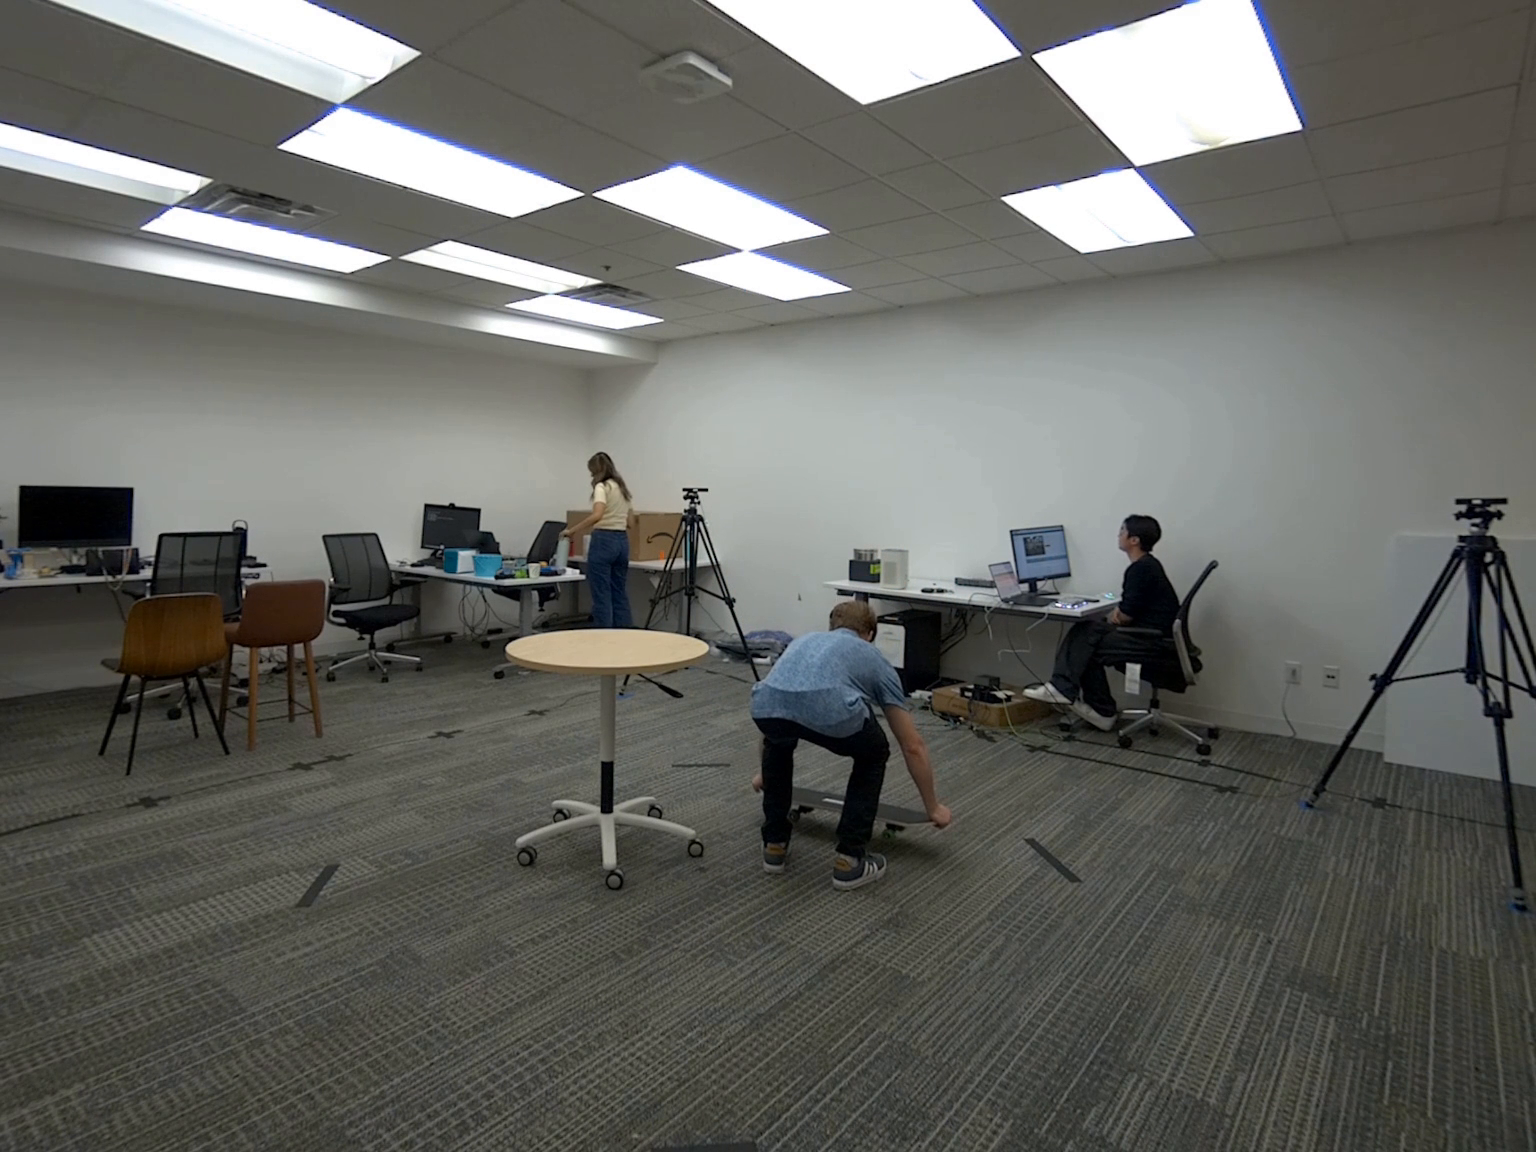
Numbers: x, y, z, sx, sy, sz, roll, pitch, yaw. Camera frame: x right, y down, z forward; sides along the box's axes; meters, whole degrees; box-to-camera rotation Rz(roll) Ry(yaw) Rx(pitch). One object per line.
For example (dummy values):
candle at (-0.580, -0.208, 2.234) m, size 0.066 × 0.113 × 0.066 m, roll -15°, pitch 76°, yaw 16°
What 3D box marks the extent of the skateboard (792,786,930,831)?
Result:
skateboard at (0.312, 0.961, 3.461) m, size 0.808 × 0.110 × 0.188 m, roll 4°, pitch 2°, yaw 28°
